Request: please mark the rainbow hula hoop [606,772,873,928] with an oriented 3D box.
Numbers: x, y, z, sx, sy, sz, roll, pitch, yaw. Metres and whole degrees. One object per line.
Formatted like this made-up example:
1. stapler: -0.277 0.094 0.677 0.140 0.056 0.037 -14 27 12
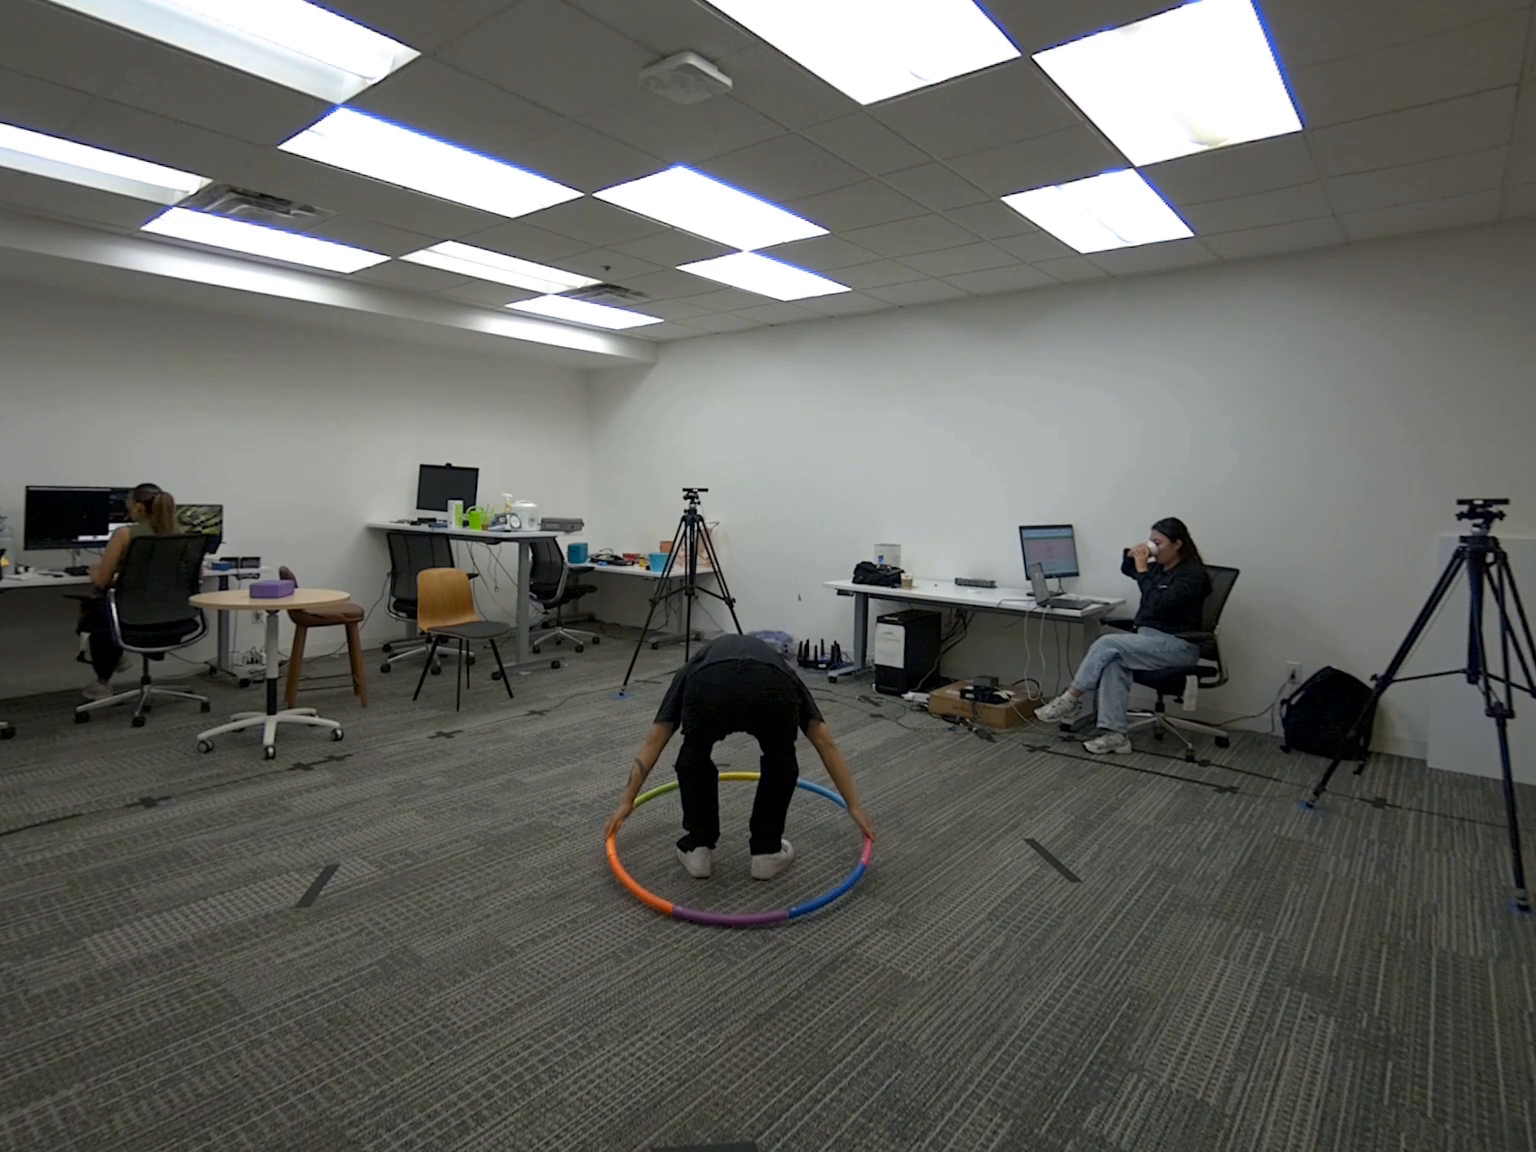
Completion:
1. rainbow hula hoop: -0.122 0.956 3.158 0.978 0.035 0.991 -1 14 -2
